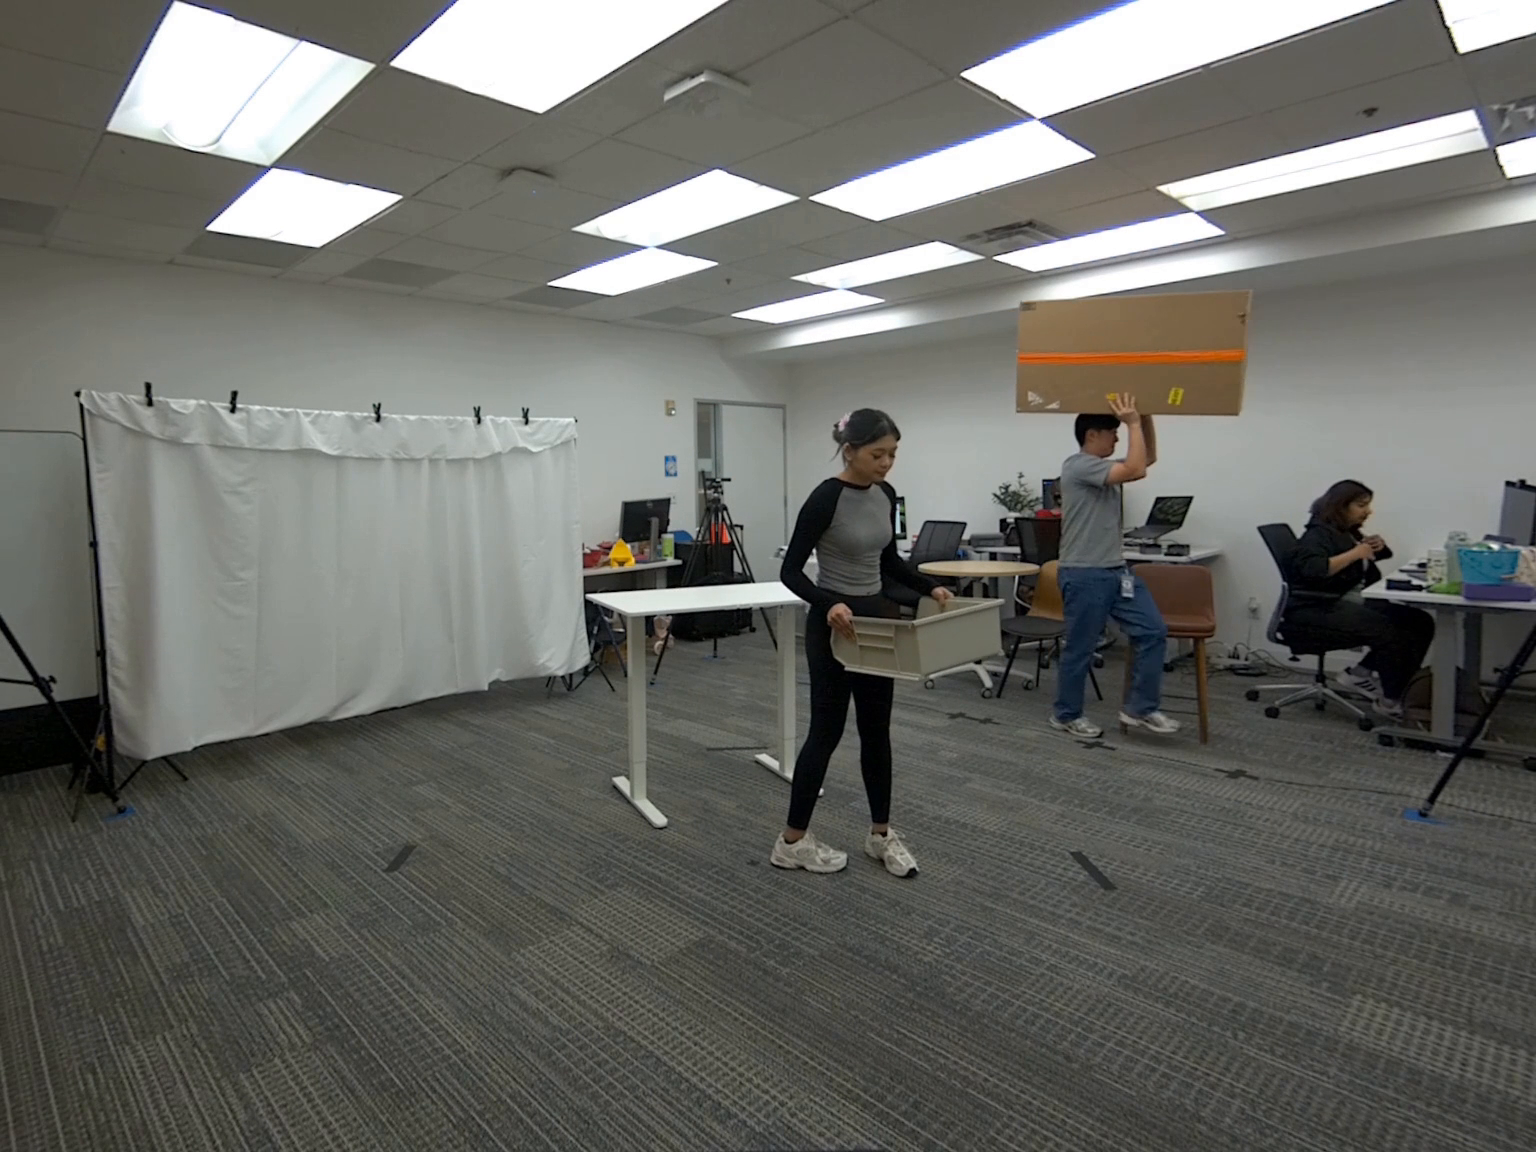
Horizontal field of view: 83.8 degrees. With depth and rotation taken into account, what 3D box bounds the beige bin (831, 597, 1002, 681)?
[{"bbox_3d":[0.481,0.185,2.760,0.412,0.188,0.388,-8,7,-36],"label":"beige bin"}]
